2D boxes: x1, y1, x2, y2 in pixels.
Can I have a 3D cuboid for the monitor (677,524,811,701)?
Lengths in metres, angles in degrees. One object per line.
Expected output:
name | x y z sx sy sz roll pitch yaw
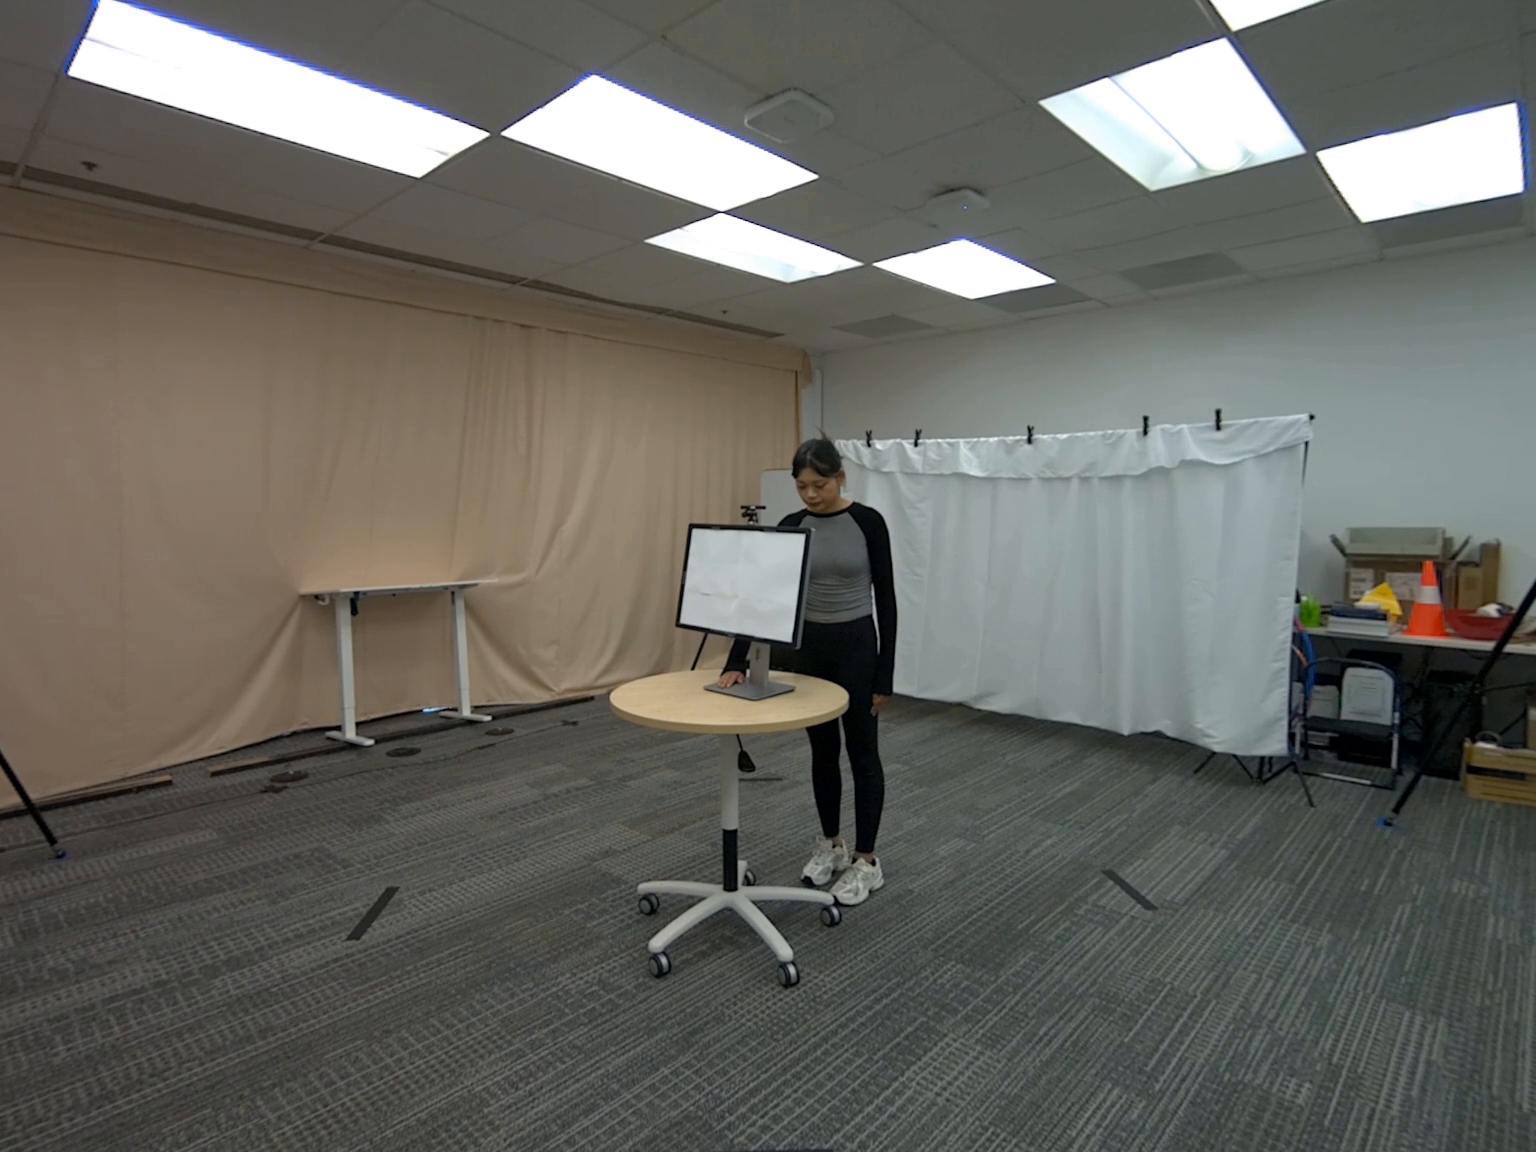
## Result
monitor | -0.062 0.107 2.743 0.557 0.521 0.181 4 7 44
